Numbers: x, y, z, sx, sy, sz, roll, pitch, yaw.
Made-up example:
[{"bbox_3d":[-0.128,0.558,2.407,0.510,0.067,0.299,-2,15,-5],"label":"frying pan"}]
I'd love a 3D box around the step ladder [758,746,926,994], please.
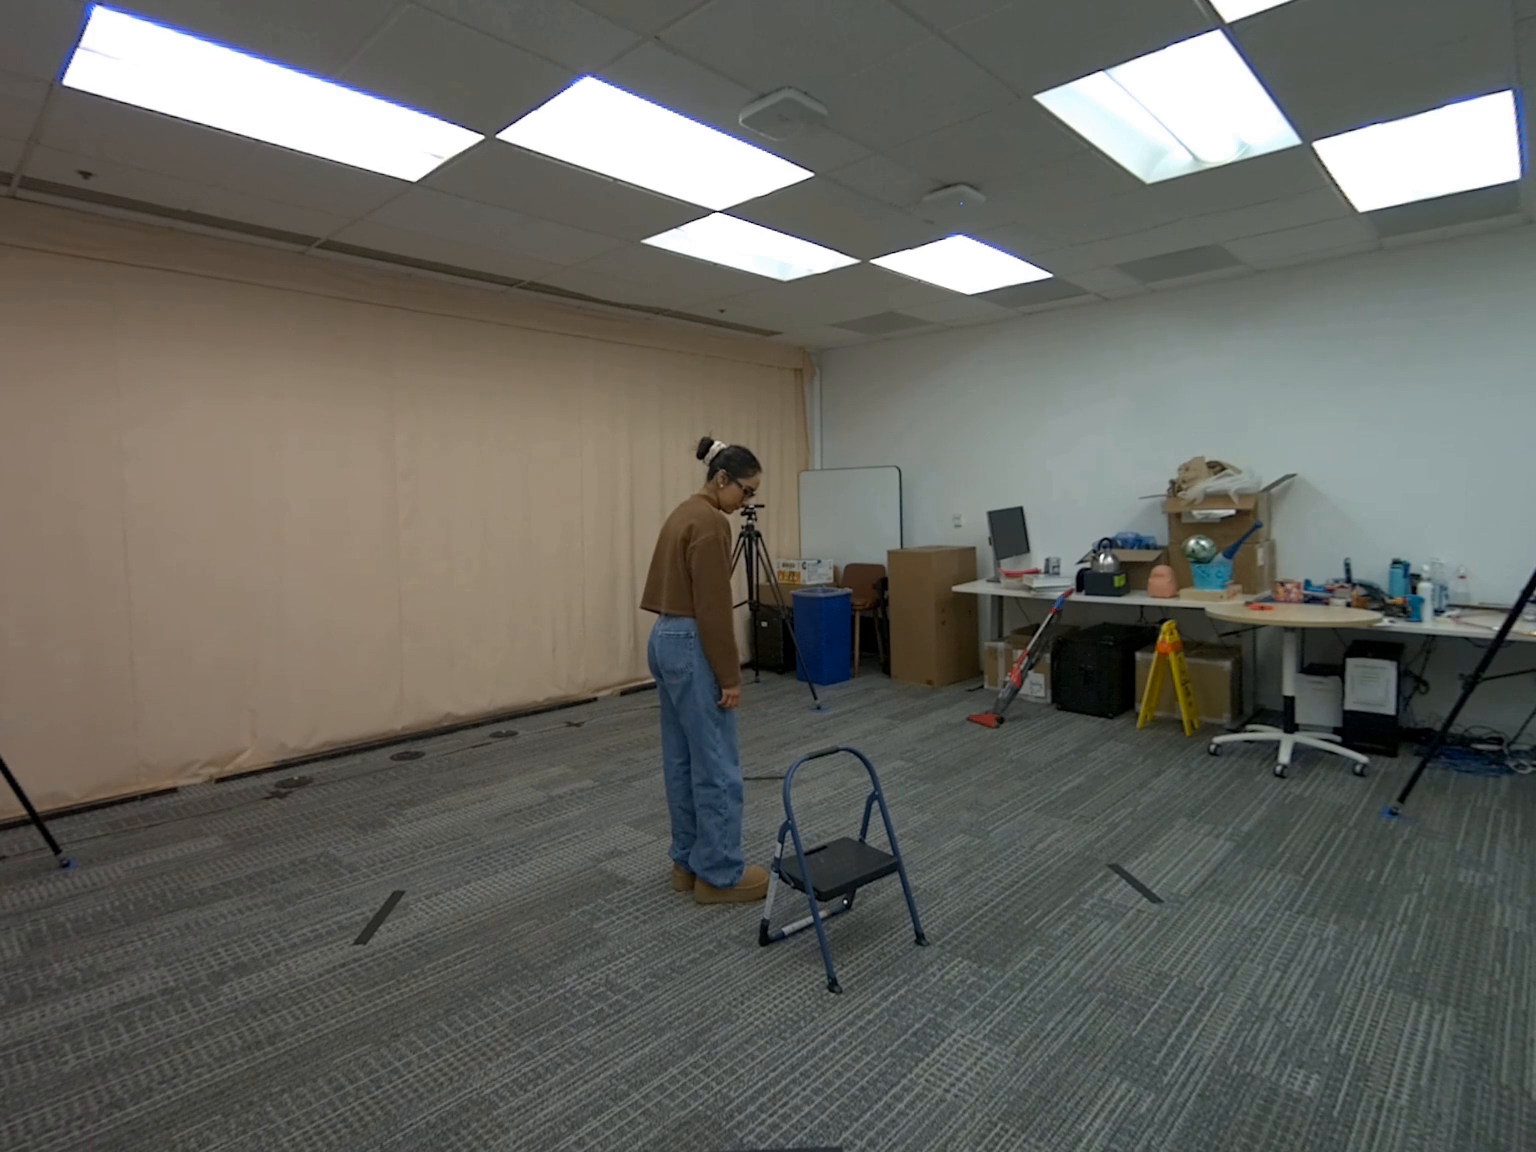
[{"bbox_3d":[0.235,0.860,2.641,0.418,0.605,0.360,-4,4,-40],"label":"step ladder"}]
